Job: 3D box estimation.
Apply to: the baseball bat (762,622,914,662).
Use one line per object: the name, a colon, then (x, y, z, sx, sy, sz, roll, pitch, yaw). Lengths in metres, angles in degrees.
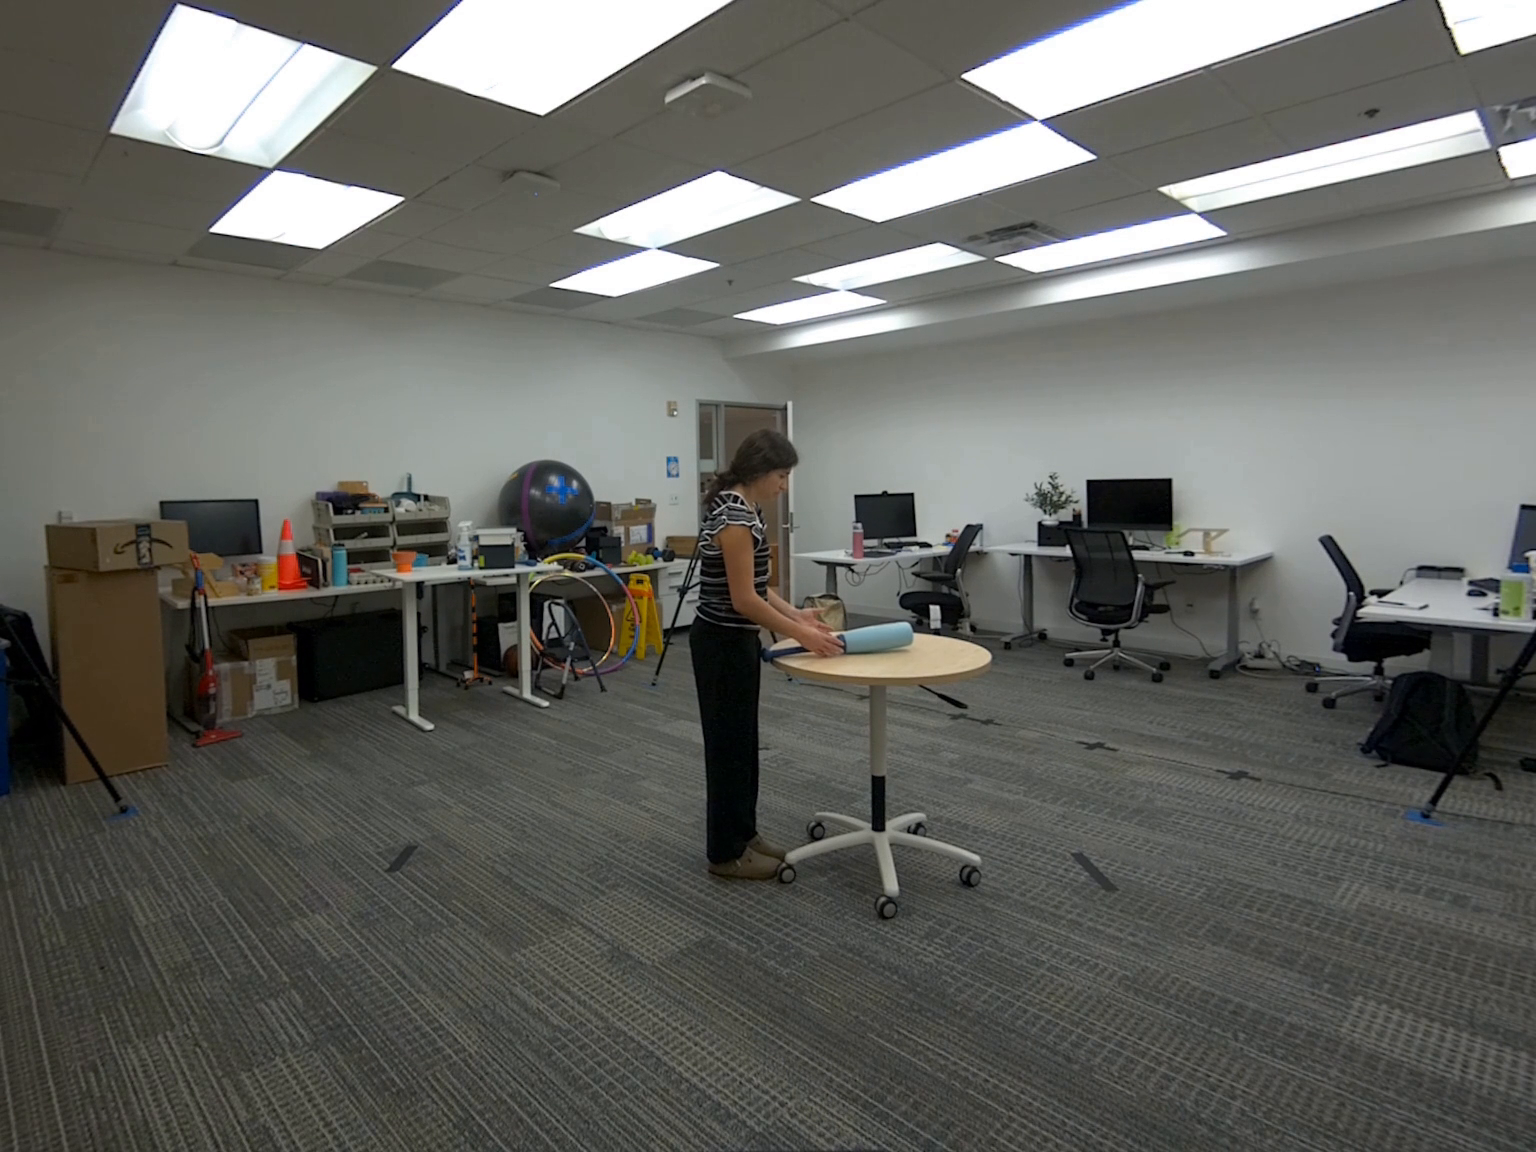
baseball bat: (0.234, 0.232, 2.985, 0.540, 0.088, 0.090, -6, 5, -5)
